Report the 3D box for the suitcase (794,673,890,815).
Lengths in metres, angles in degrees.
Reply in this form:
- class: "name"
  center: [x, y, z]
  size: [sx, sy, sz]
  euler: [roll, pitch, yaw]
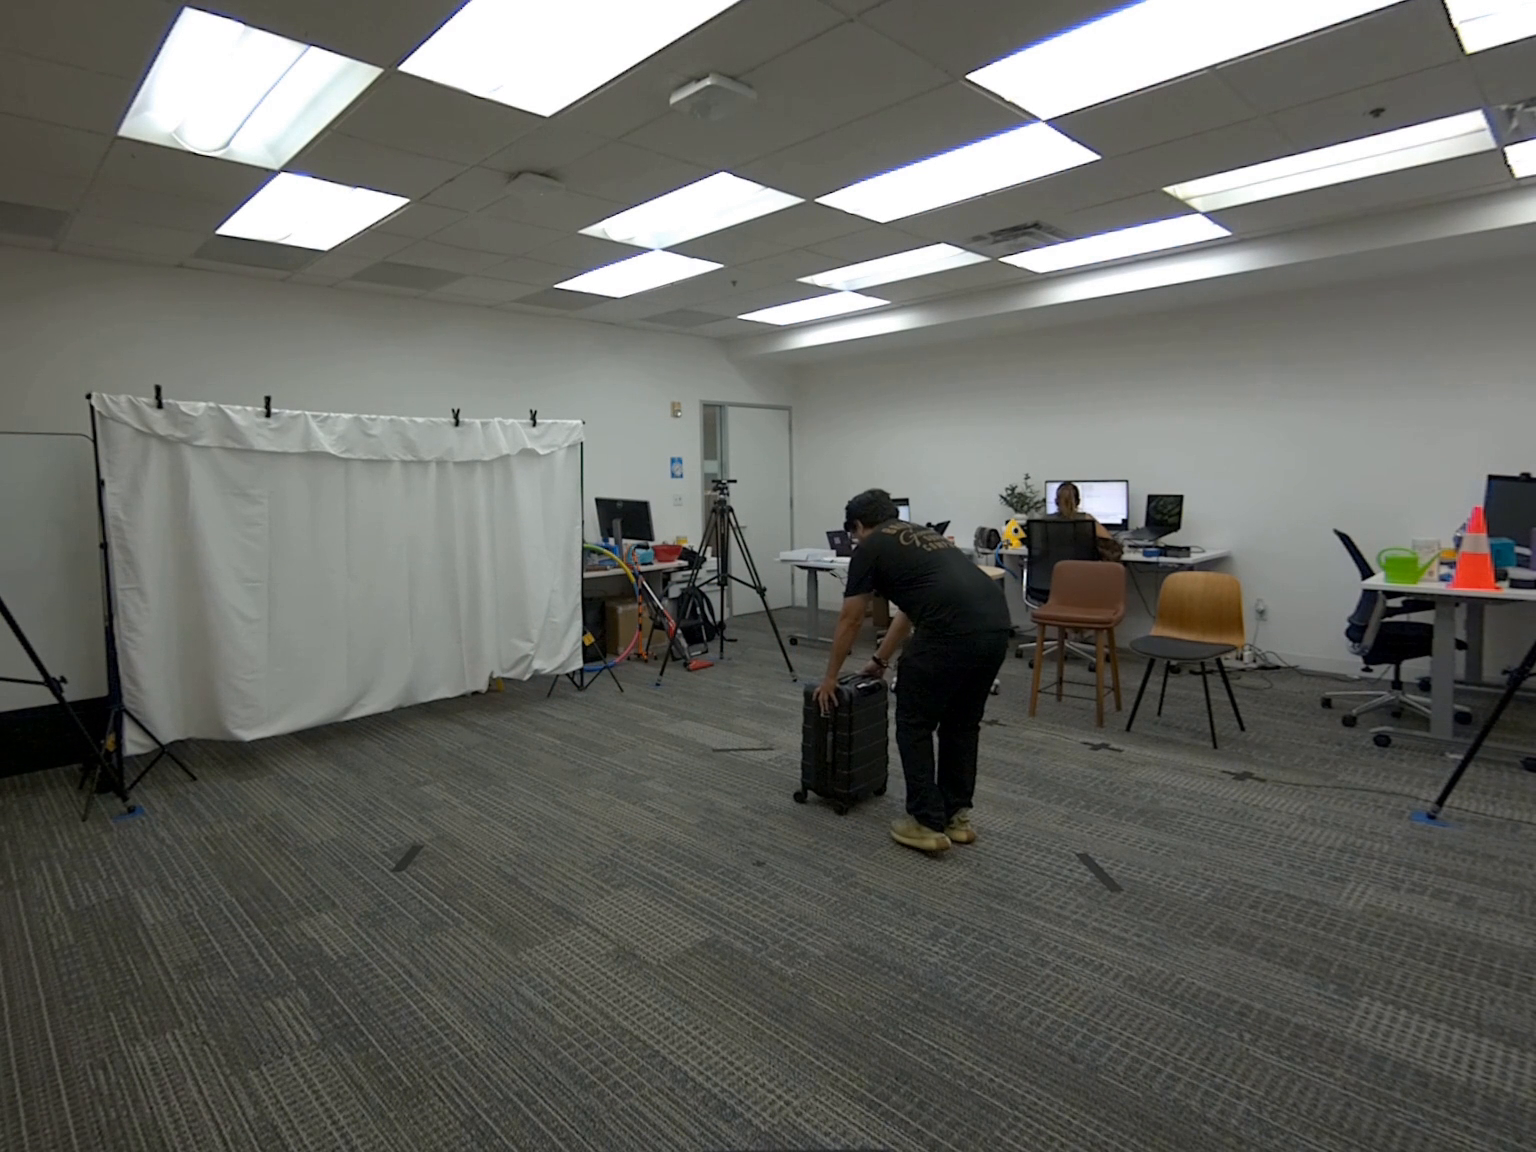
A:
- class: "suitcase"
  center: [0.335, 0.700, 3.717]
  size: [0.256, 0.547, 0.365]
  euler: [5, 6, 41]
